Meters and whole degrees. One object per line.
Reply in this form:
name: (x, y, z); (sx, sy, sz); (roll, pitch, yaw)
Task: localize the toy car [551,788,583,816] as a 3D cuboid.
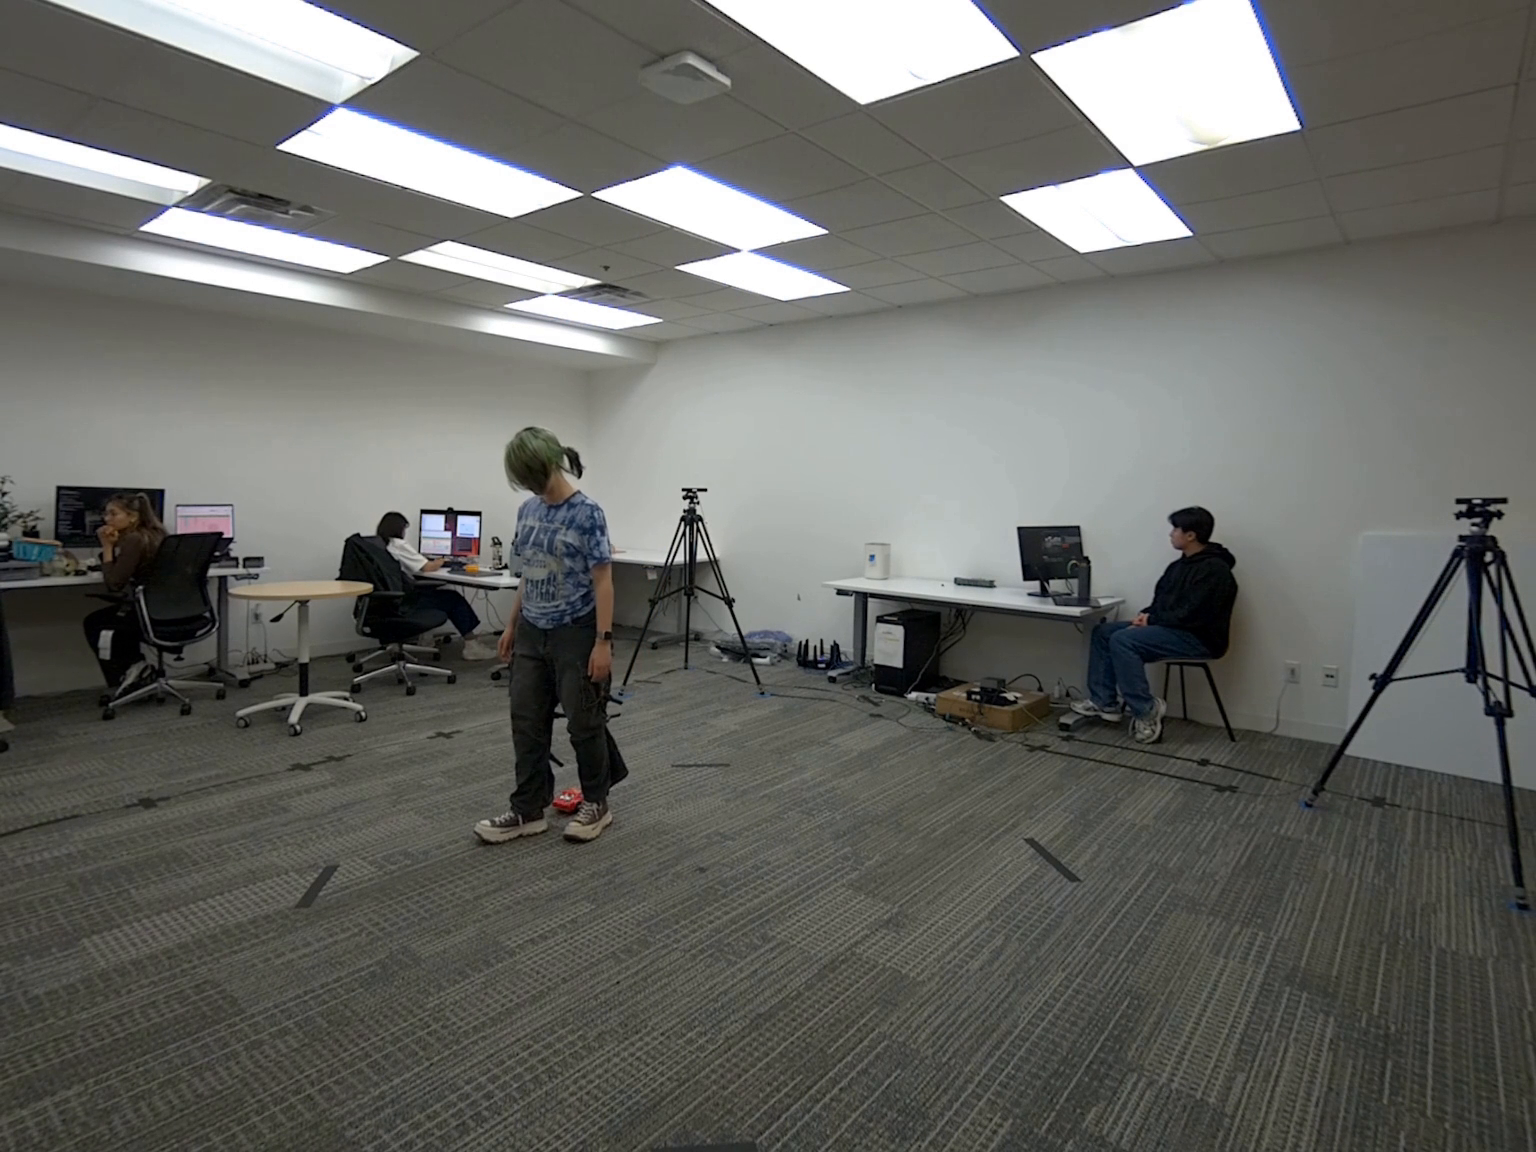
toy car: (-0.855, 0.969, 3.702); (0.134, 0.083, 0.247); (5, -4, 24)
